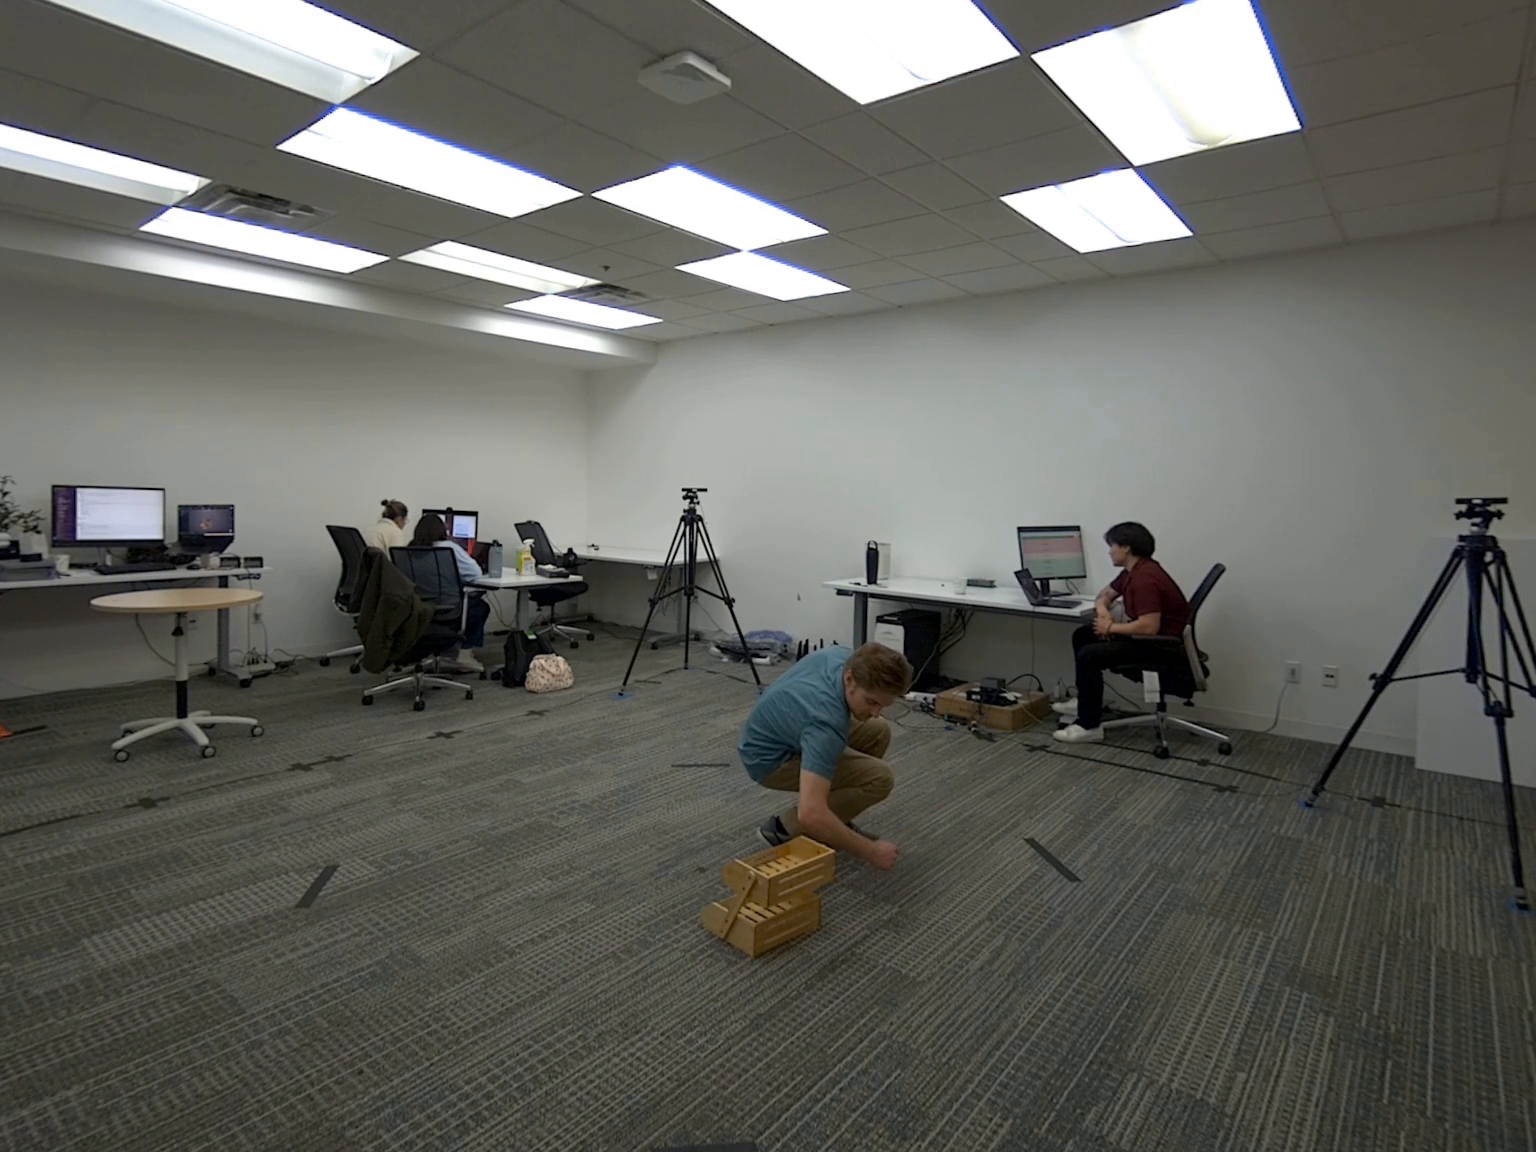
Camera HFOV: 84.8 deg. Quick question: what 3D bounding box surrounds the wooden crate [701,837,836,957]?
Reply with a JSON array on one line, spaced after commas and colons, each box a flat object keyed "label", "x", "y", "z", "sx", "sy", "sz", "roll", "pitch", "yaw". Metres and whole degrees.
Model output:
[{"label": "wooden crate", "x": -0.010, "y": 0.978, "z": 2.693, "sx": 0.314, "sy": 0.272, "sz": 0.312, "roll": -3, "pitch": 6, "yaw": -43}]
